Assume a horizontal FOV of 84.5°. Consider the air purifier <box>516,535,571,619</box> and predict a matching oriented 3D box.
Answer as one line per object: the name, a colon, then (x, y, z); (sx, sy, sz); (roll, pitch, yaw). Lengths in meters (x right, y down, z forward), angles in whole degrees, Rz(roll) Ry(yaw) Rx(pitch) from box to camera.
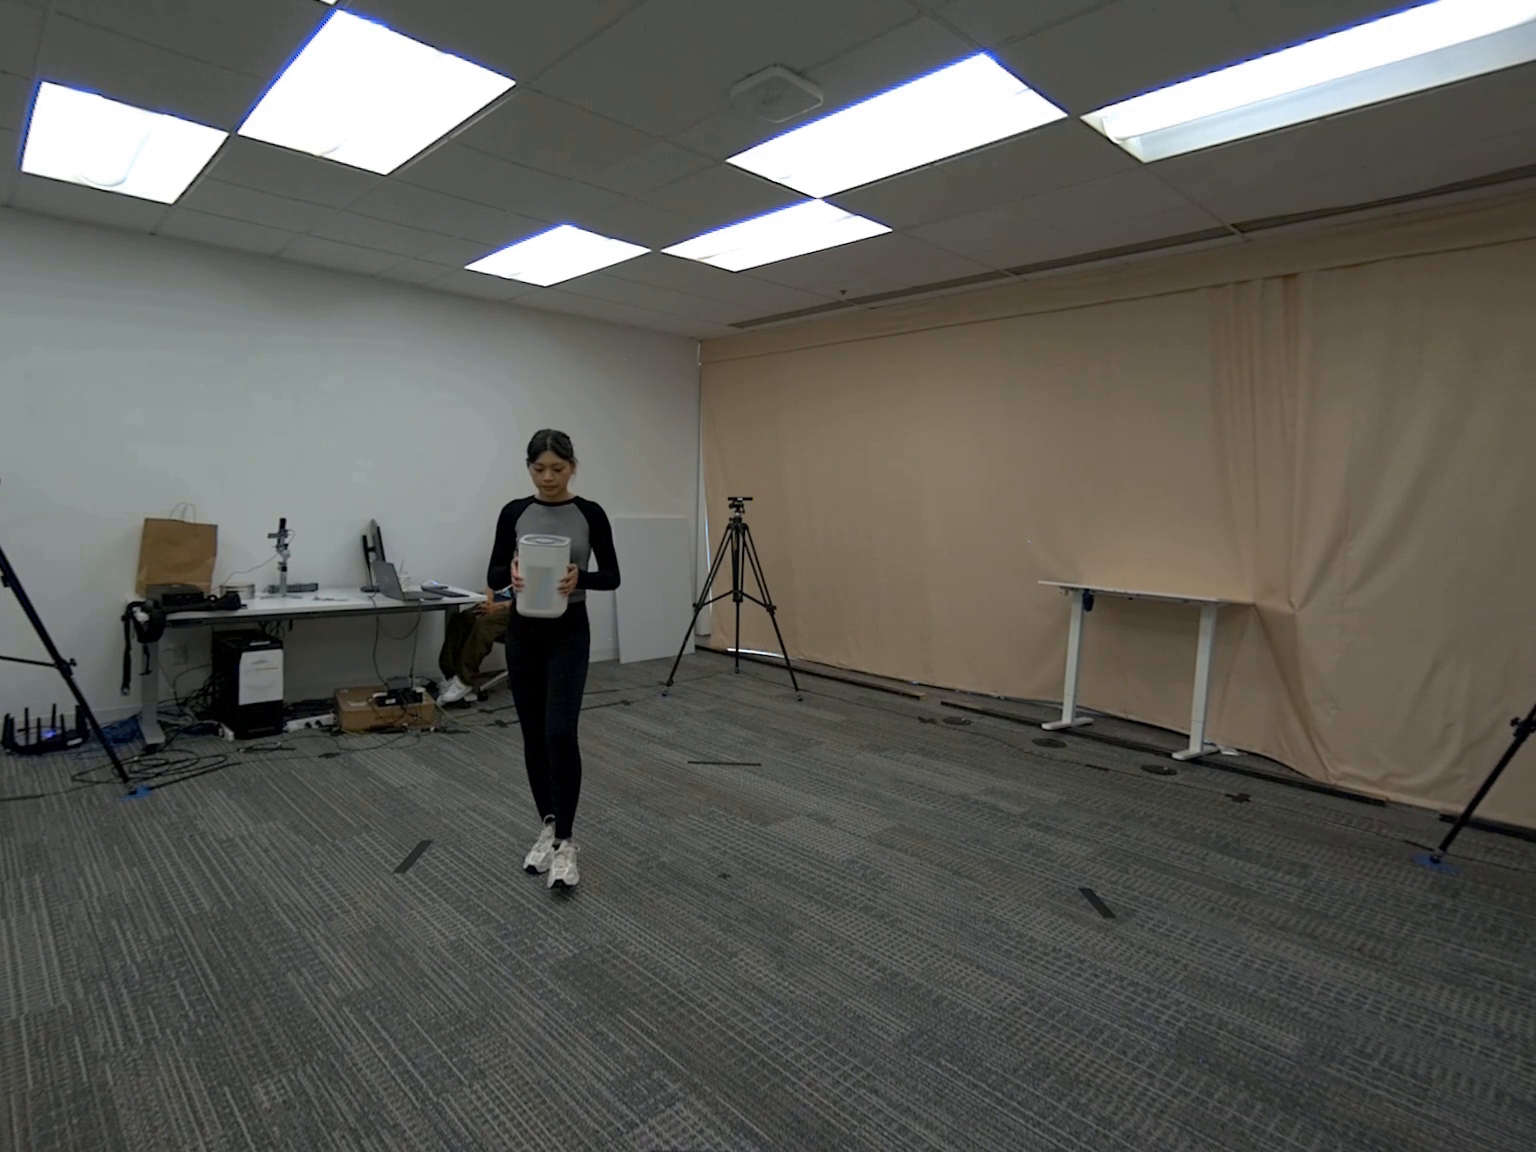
air purifier: (-0.812, 0.003, 2.967); (0.171, 0.263, 0.173); (6, 11, -5)
